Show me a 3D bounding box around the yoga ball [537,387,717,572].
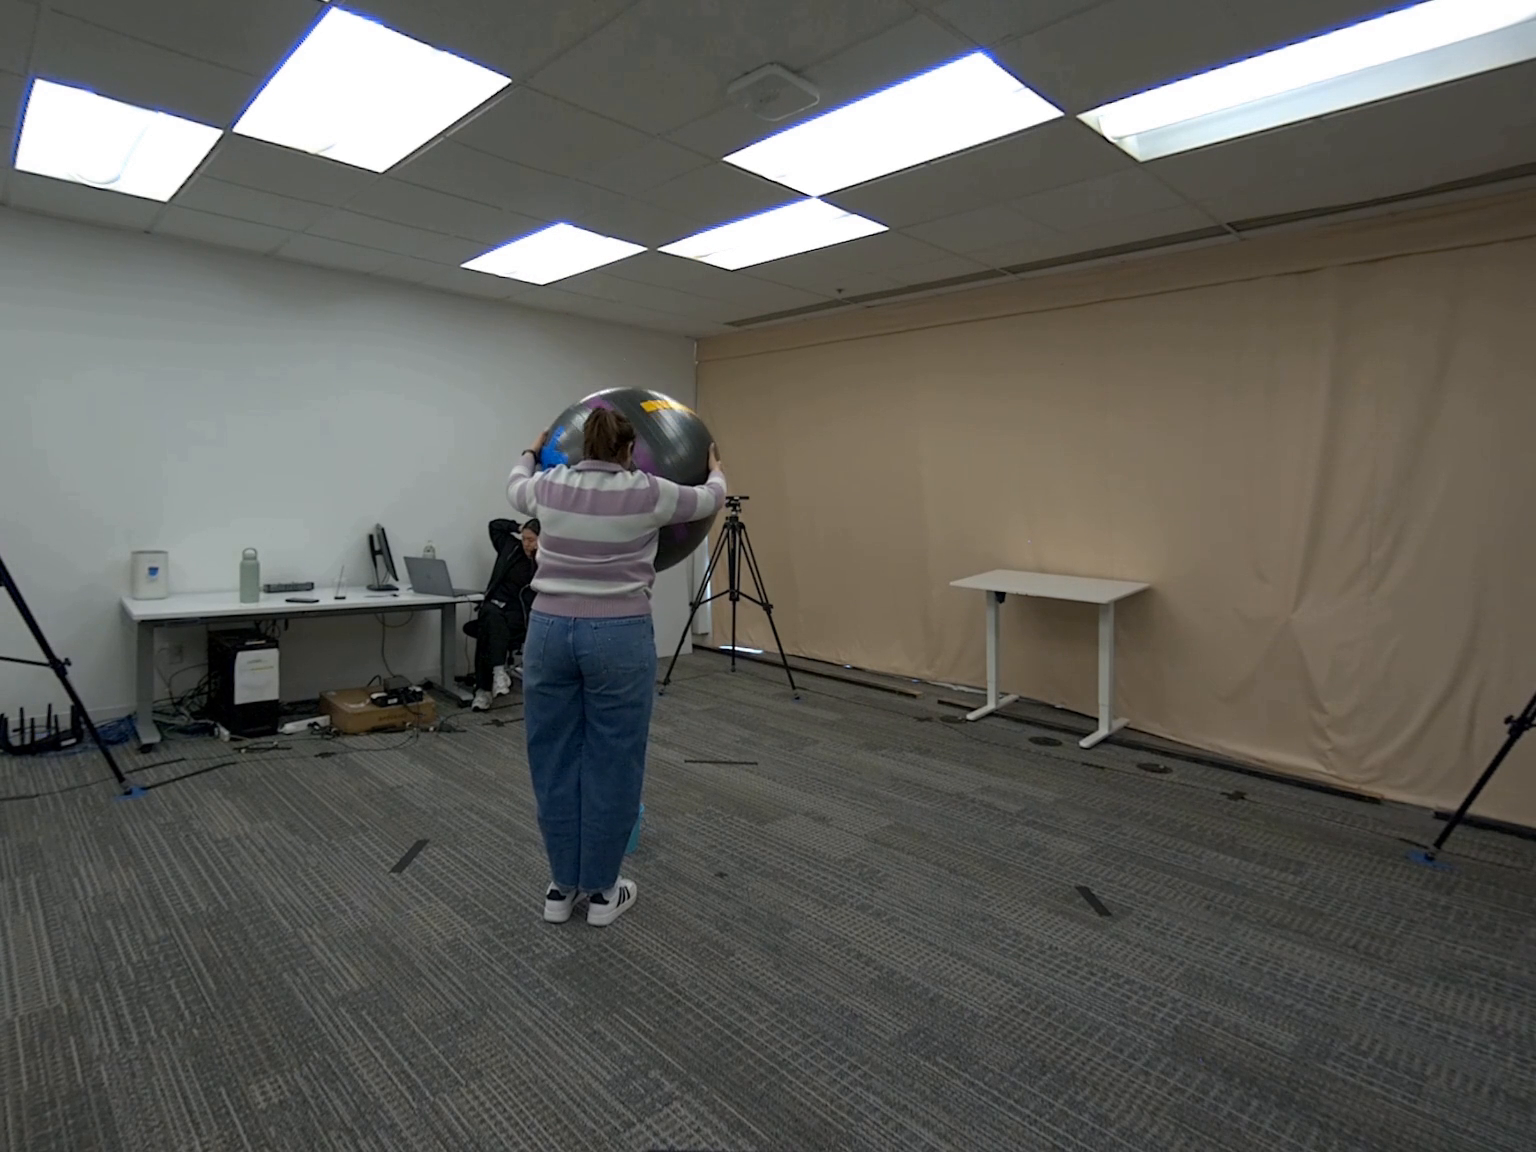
[{"bbox_3d":[-0.564,-0.373,3.388,0.757,0.756,0.761,1,4,-1],"label":"yoga ball"}]
